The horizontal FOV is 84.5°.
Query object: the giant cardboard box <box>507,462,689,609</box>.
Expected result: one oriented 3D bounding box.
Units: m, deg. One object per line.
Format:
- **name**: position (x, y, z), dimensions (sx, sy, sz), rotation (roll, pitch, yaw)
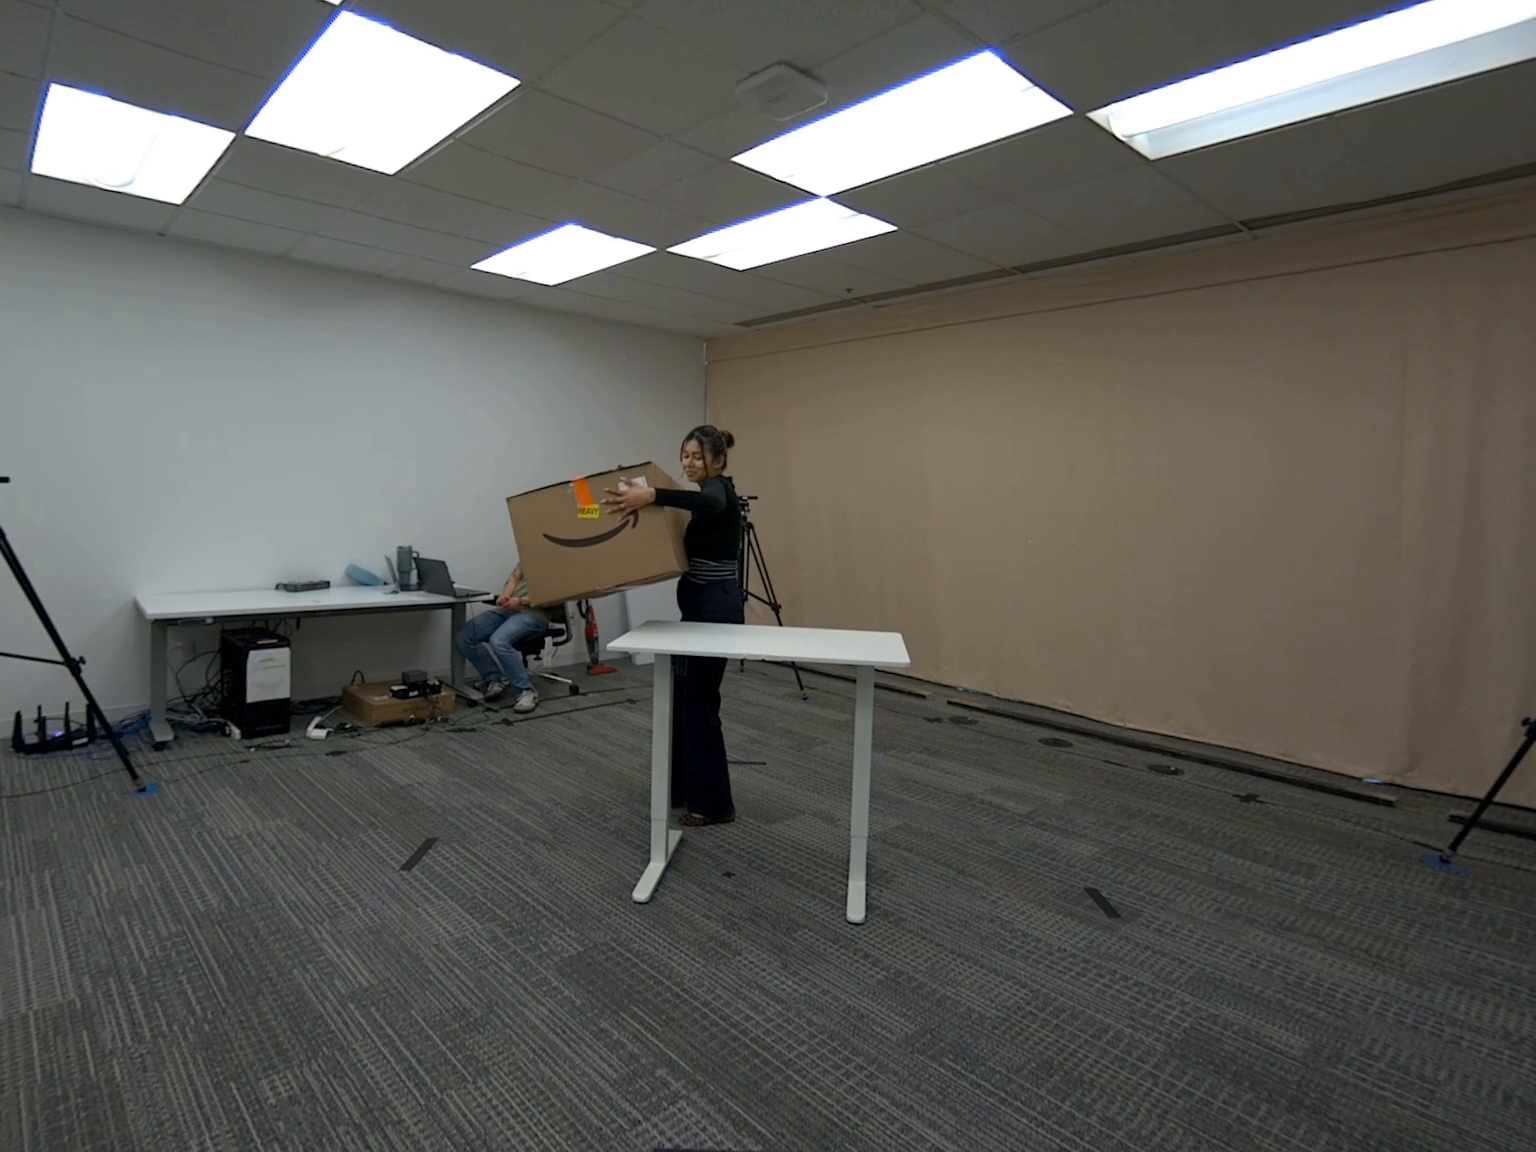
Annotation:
- **giant cardboard box**: position (-0.661, -0.165, 3.637), dimensions (0.578, 0.426, 1.023), rotation (-14, 0, 2)
